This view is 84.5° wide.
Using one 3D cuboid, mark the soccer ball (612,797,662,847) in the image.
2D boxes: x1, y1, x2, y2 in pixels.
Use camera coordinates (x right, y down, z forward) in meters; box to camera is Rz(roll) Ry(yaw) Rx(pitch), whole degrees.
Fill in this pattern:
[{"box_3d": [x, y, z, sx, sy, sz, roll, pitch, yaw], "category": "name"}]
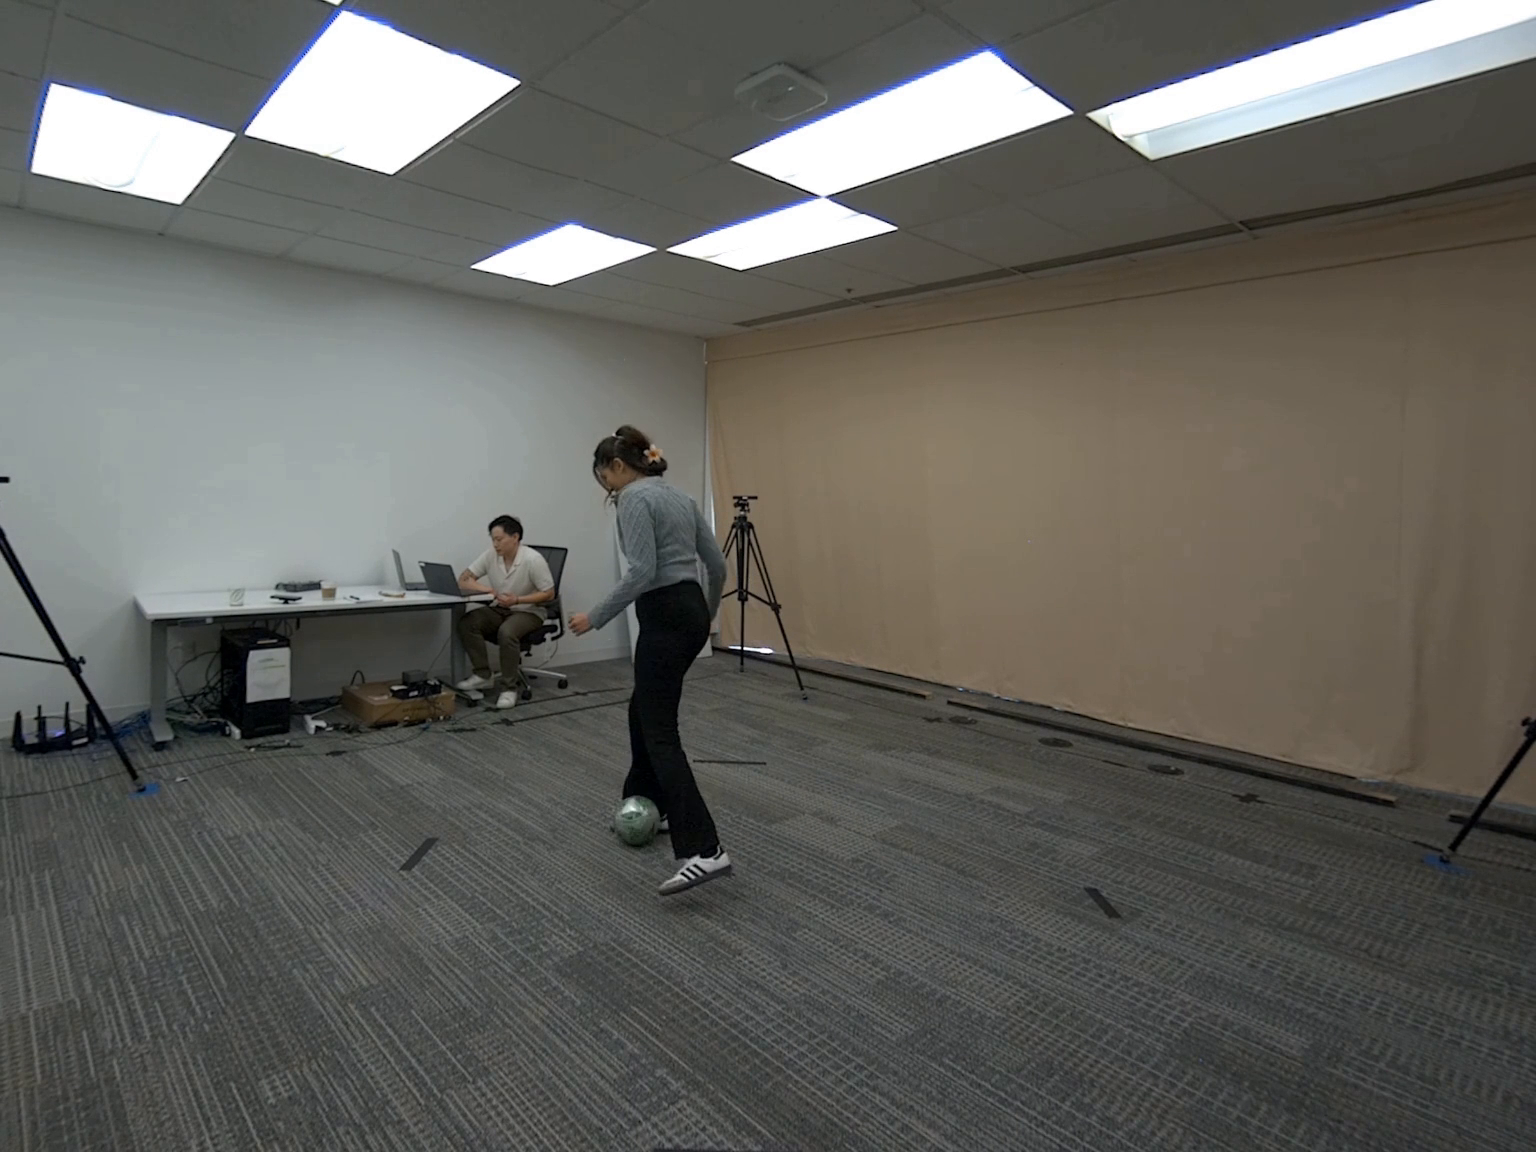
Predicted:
[{"box_3d": [-0.541, 0.979, 3.350, 0.187, 0.187, 0.188, 1, 4, -1], "category": "soccer ball"}]
